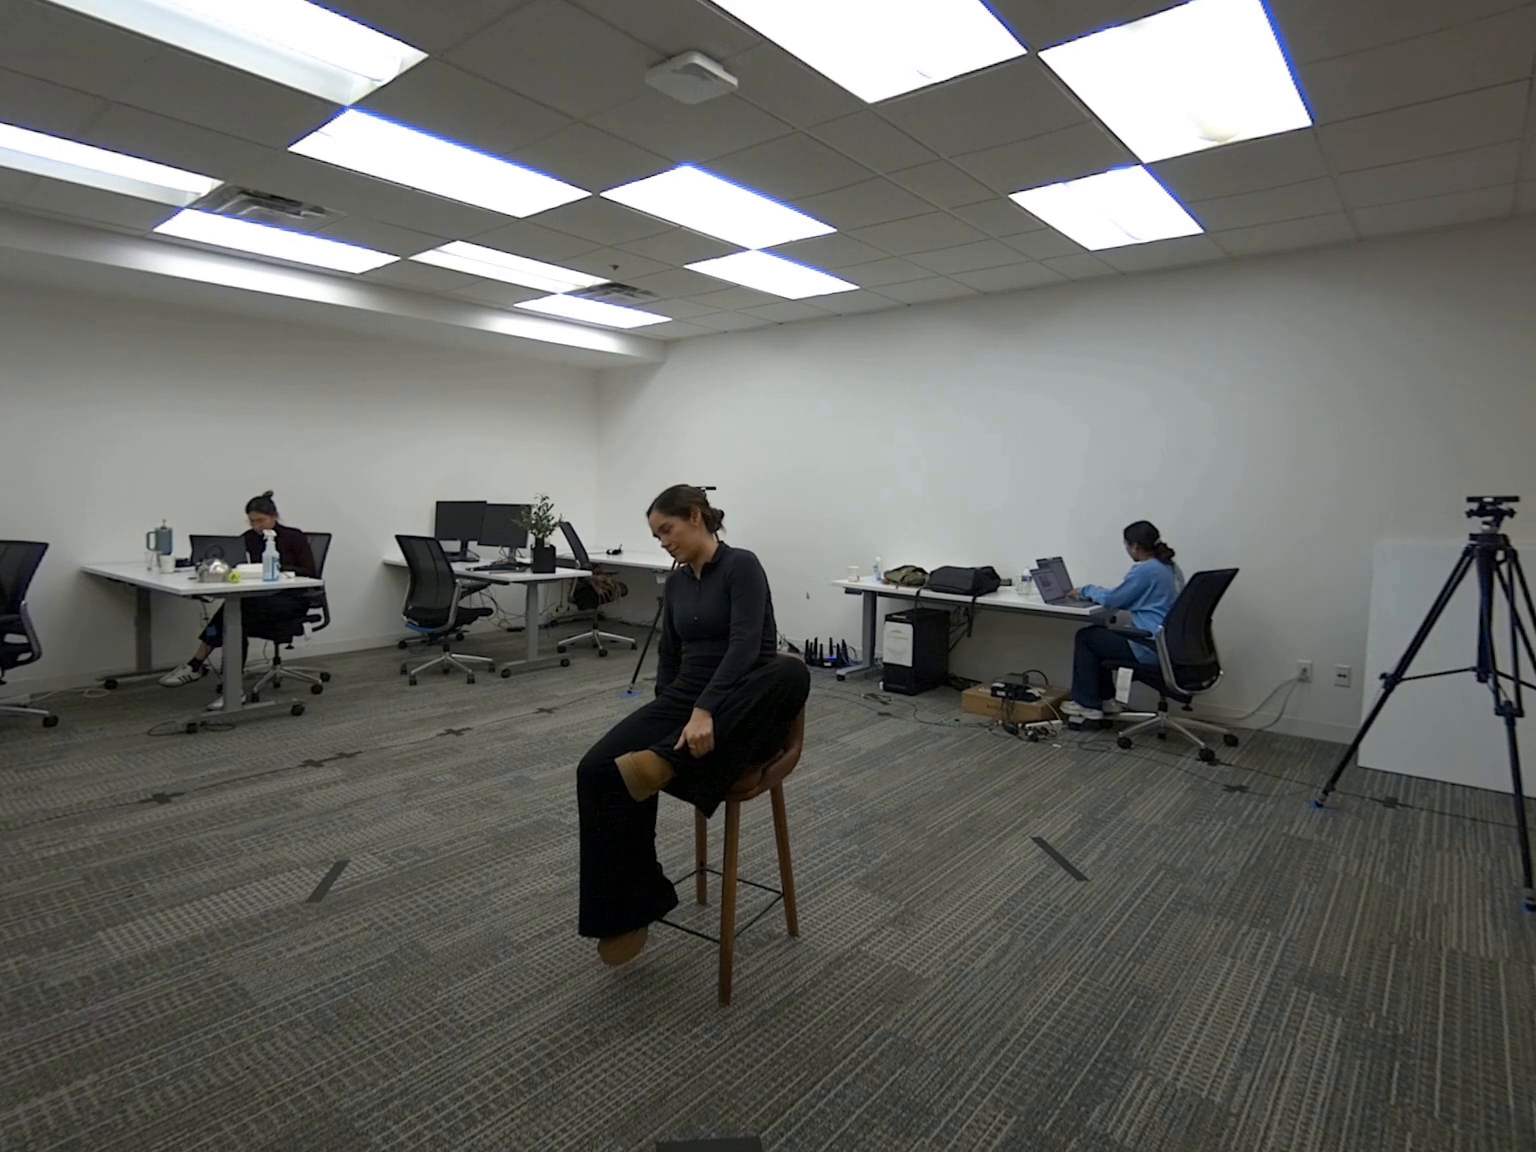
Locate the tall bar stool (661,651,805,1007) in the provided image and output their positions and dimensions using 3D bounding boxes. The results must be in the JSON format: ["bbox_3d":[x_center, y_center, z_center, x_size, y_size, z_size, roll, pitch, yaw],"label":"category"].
[{"bbox_3d":[-0.166,0.690,2.554,0.470,0.888,0.454,4,3,32],"label":"tall bar stool"}]
